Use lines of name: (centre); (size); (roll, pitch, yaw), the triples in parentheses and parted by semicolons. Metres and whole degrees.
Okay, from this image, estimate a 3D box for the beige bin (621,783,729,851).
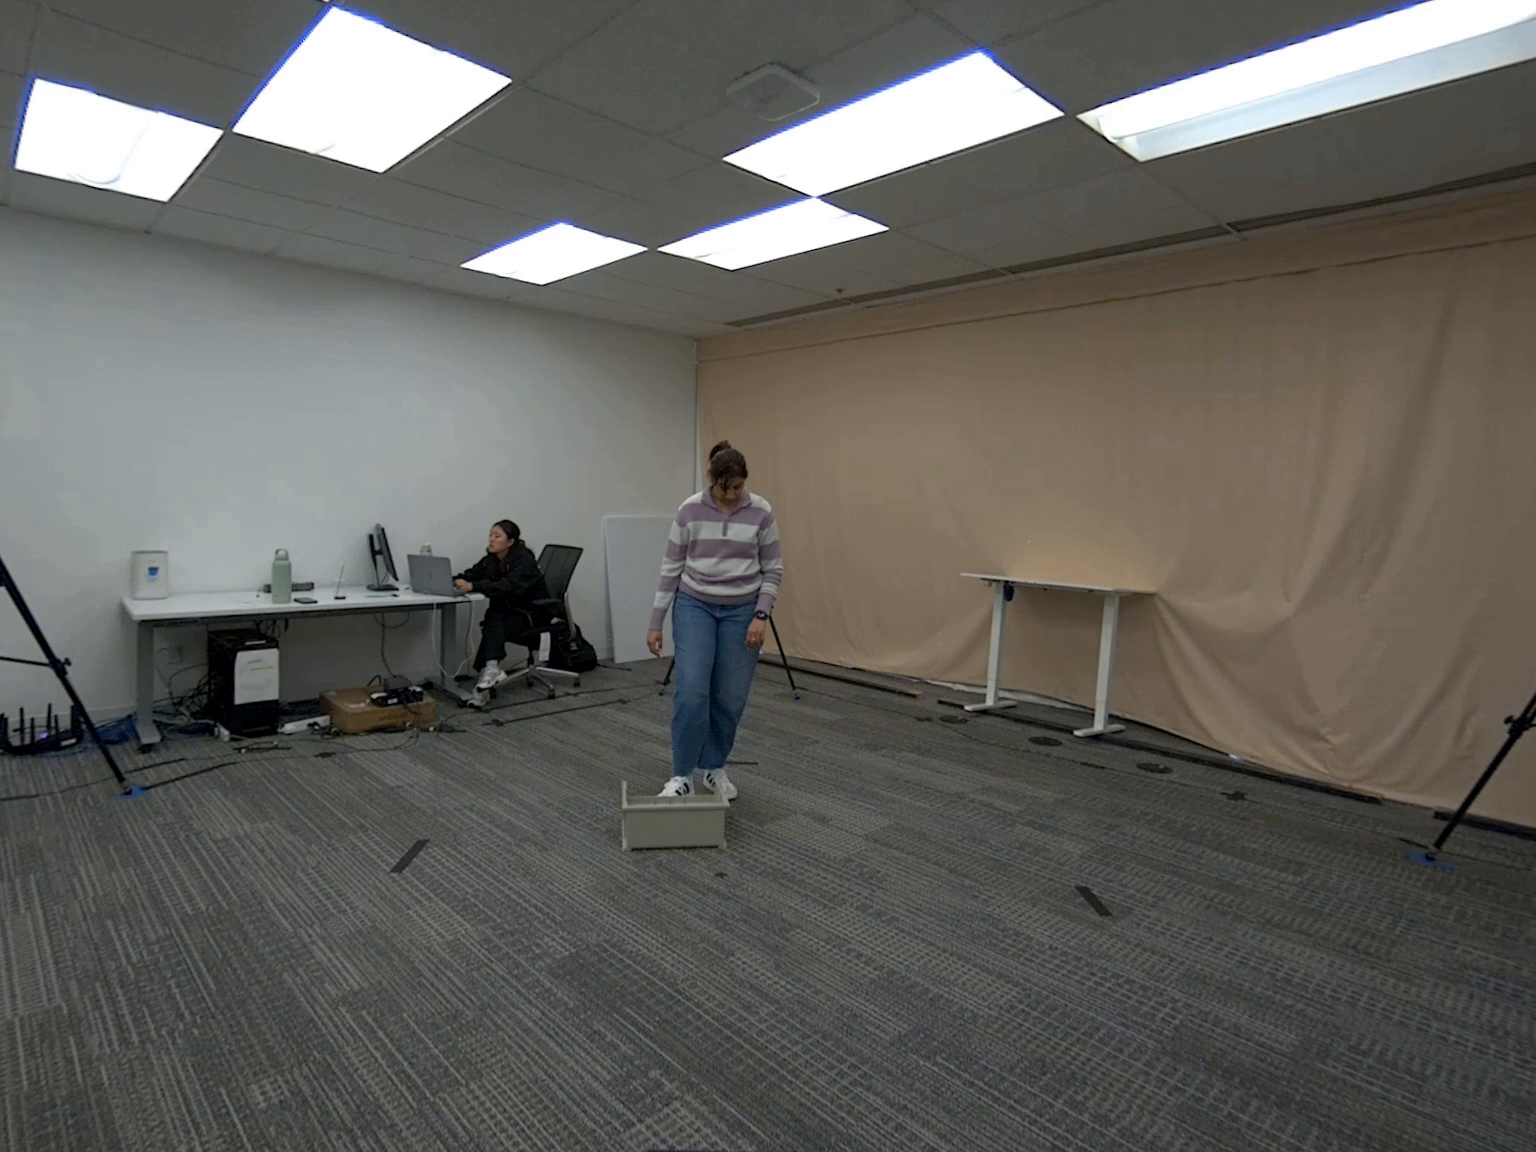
beige bin: (-0.408, 0.975, 3.492); (0.419, 0.188, 0.381); (1, 6, -9)
